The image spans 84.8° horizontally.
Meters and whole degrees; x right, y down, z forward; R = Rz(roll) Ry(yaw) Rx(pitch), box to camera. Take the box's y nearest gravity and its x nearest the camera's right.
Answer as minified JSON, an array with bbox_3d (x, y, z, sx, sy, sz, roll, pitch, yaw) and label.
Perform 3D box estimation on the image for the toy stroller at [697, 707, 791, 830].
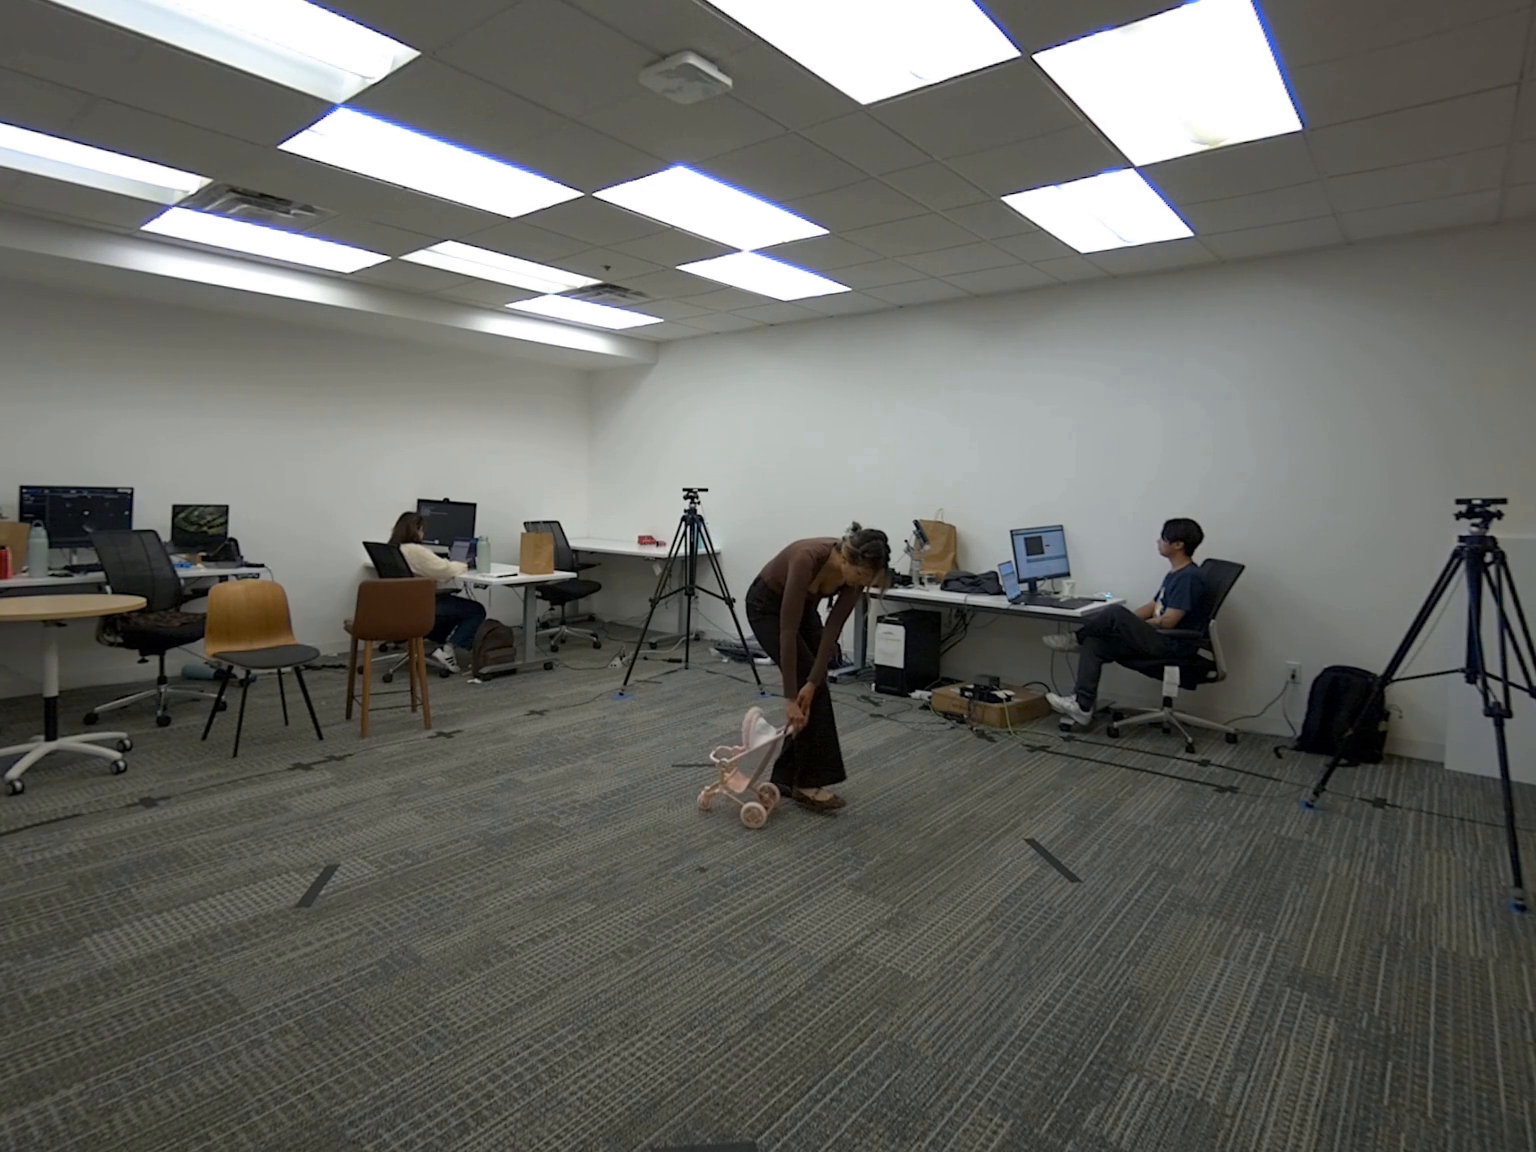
[{"bbox_3d":[-0.098,0.798,3.625,0.350,0.532,0.276,20,9,19],"label":"toy stroller"}]
